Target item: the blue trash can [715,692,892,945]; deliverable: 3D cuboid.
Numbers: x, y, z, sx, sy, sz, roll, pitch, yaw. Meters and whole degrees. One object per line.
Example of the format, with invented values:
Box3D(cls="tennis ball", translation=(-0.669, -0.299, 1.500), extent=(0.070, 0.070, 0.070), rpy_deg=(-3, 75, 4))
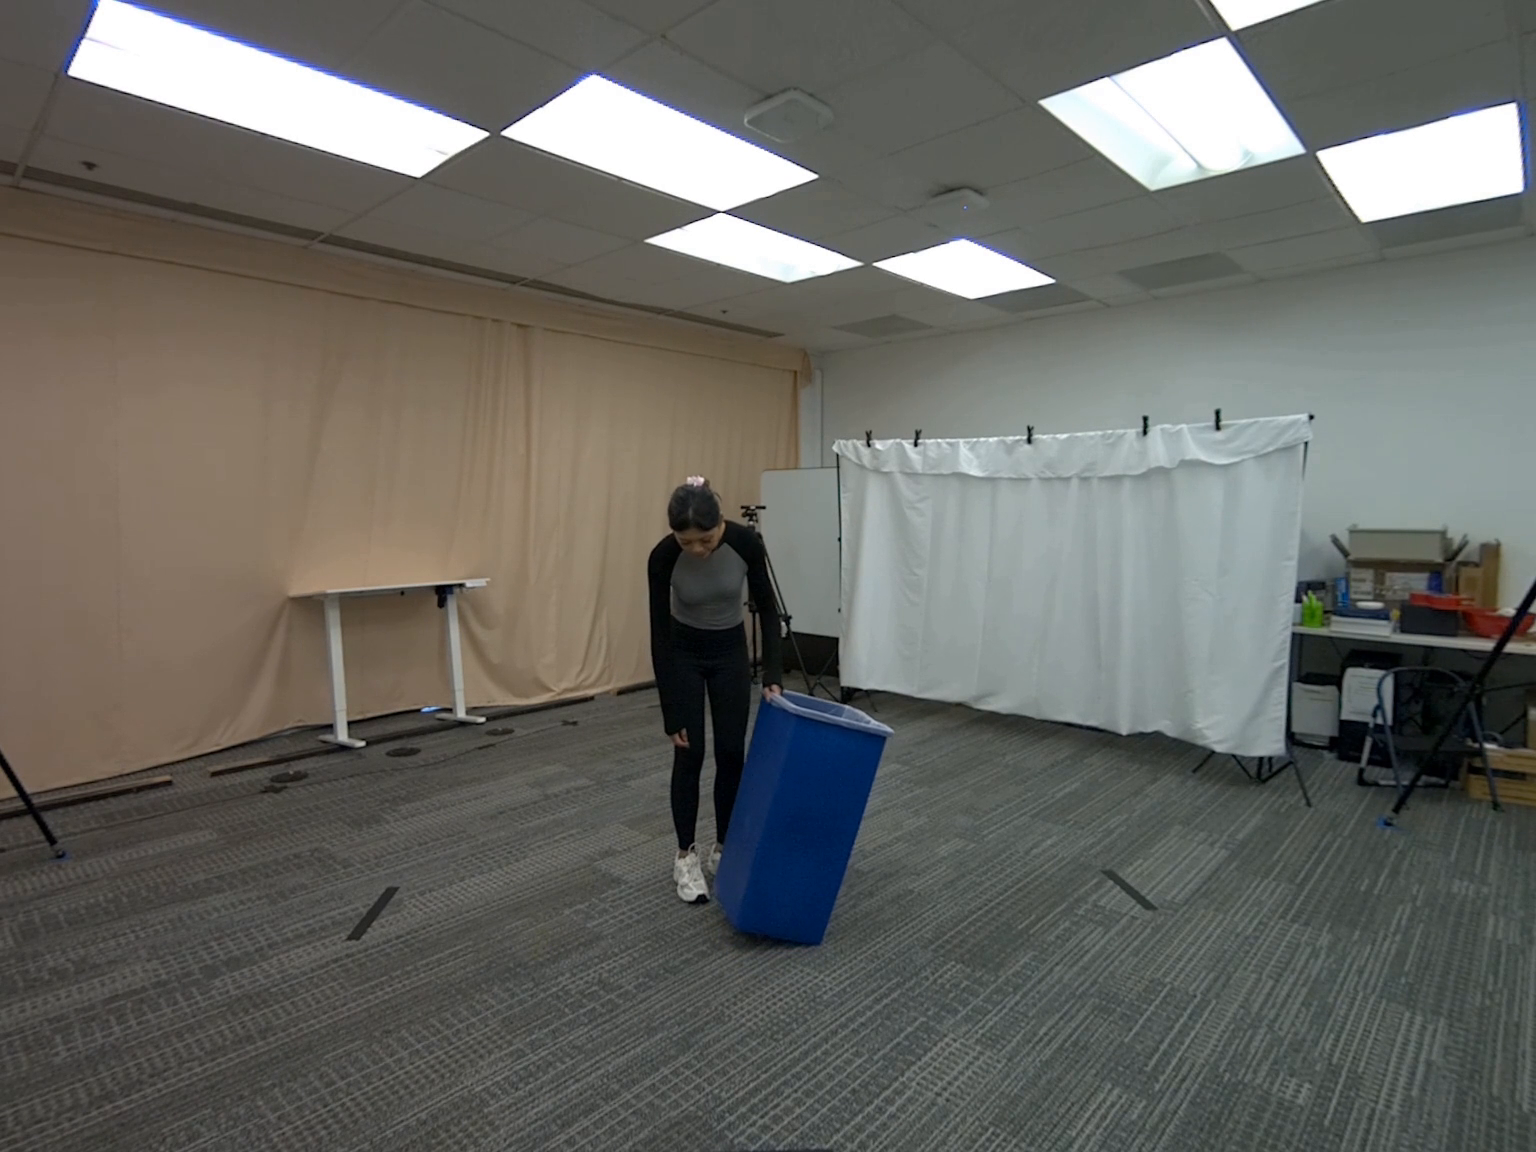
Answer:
Box3D(cls="blue trash can", translation=(0.089, 0.775, 2.773), extent=(0.367, 0.714, 0.385), rpy_deg=(17, -2, -17))
